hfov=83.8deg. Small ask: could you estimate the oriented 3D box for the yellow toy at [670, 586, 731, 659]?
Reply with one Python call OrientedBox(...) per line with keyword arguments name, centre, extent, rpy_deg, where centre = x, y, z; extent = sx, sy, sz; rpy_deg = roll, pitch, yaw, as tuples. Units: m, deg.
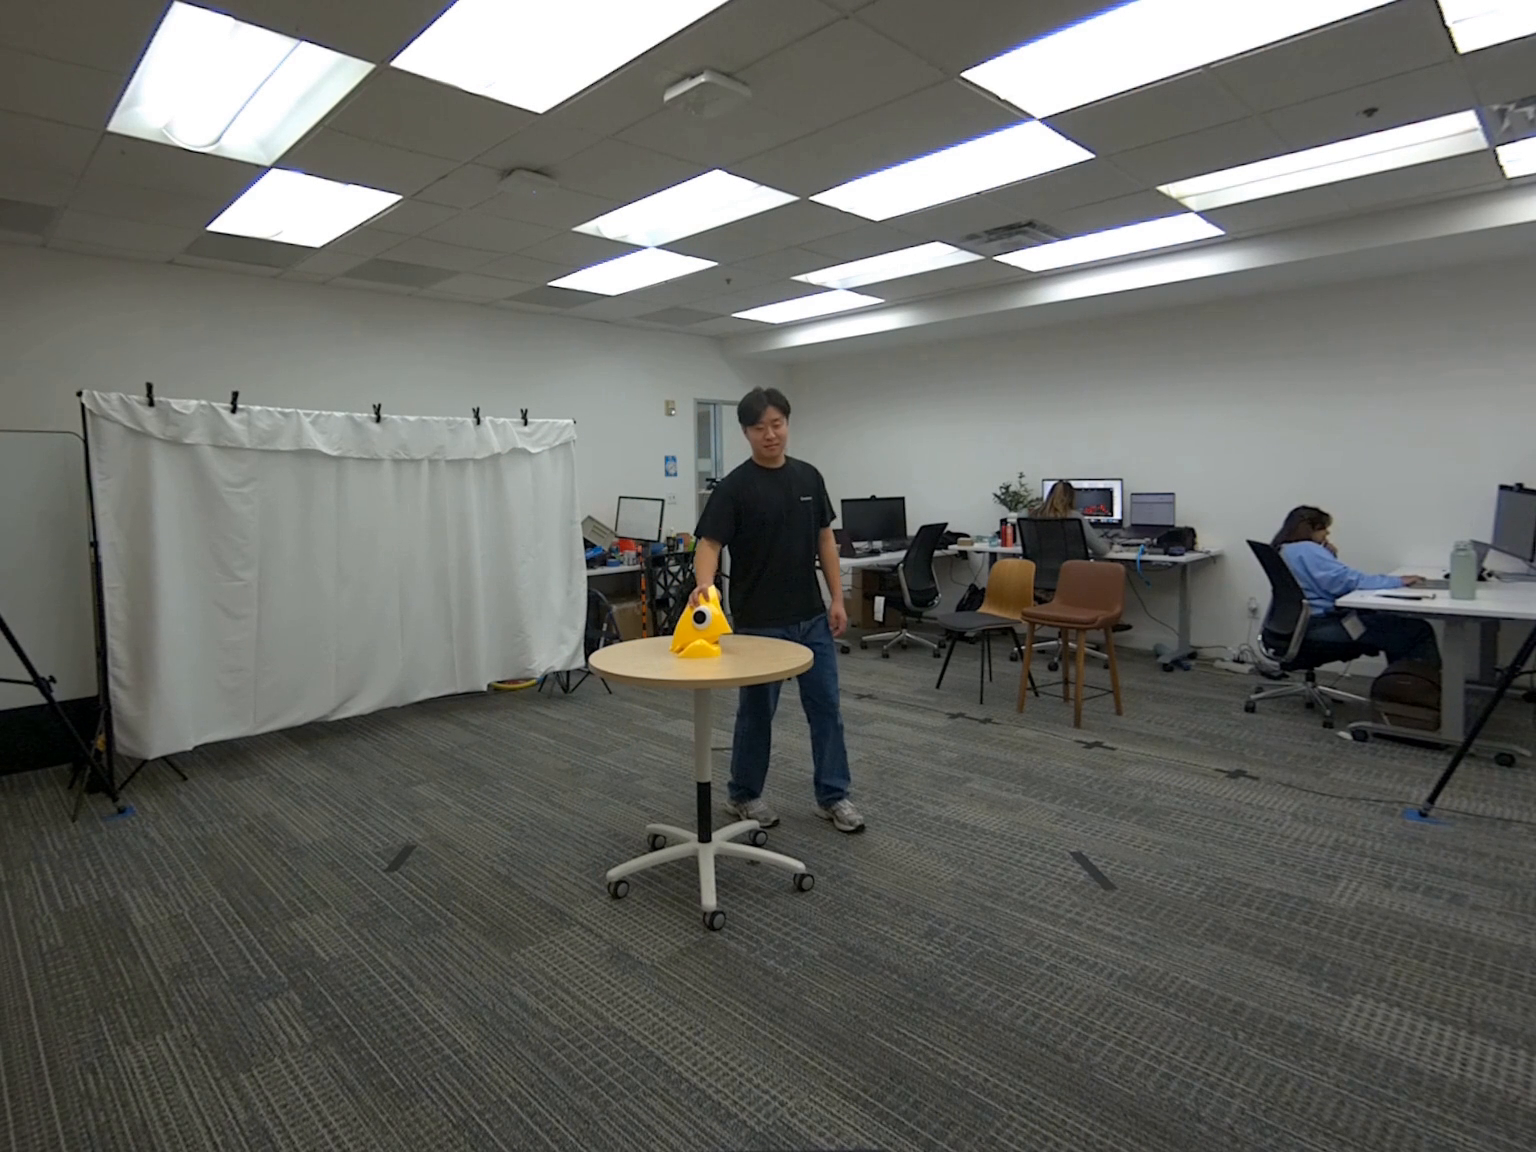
OrientedBox(name="yellow toy", centre=(-0.241, 0.152, 2.965), extent=(0.189, 0.230, 0.209), rpy_deg=(-2, 6, -21))
